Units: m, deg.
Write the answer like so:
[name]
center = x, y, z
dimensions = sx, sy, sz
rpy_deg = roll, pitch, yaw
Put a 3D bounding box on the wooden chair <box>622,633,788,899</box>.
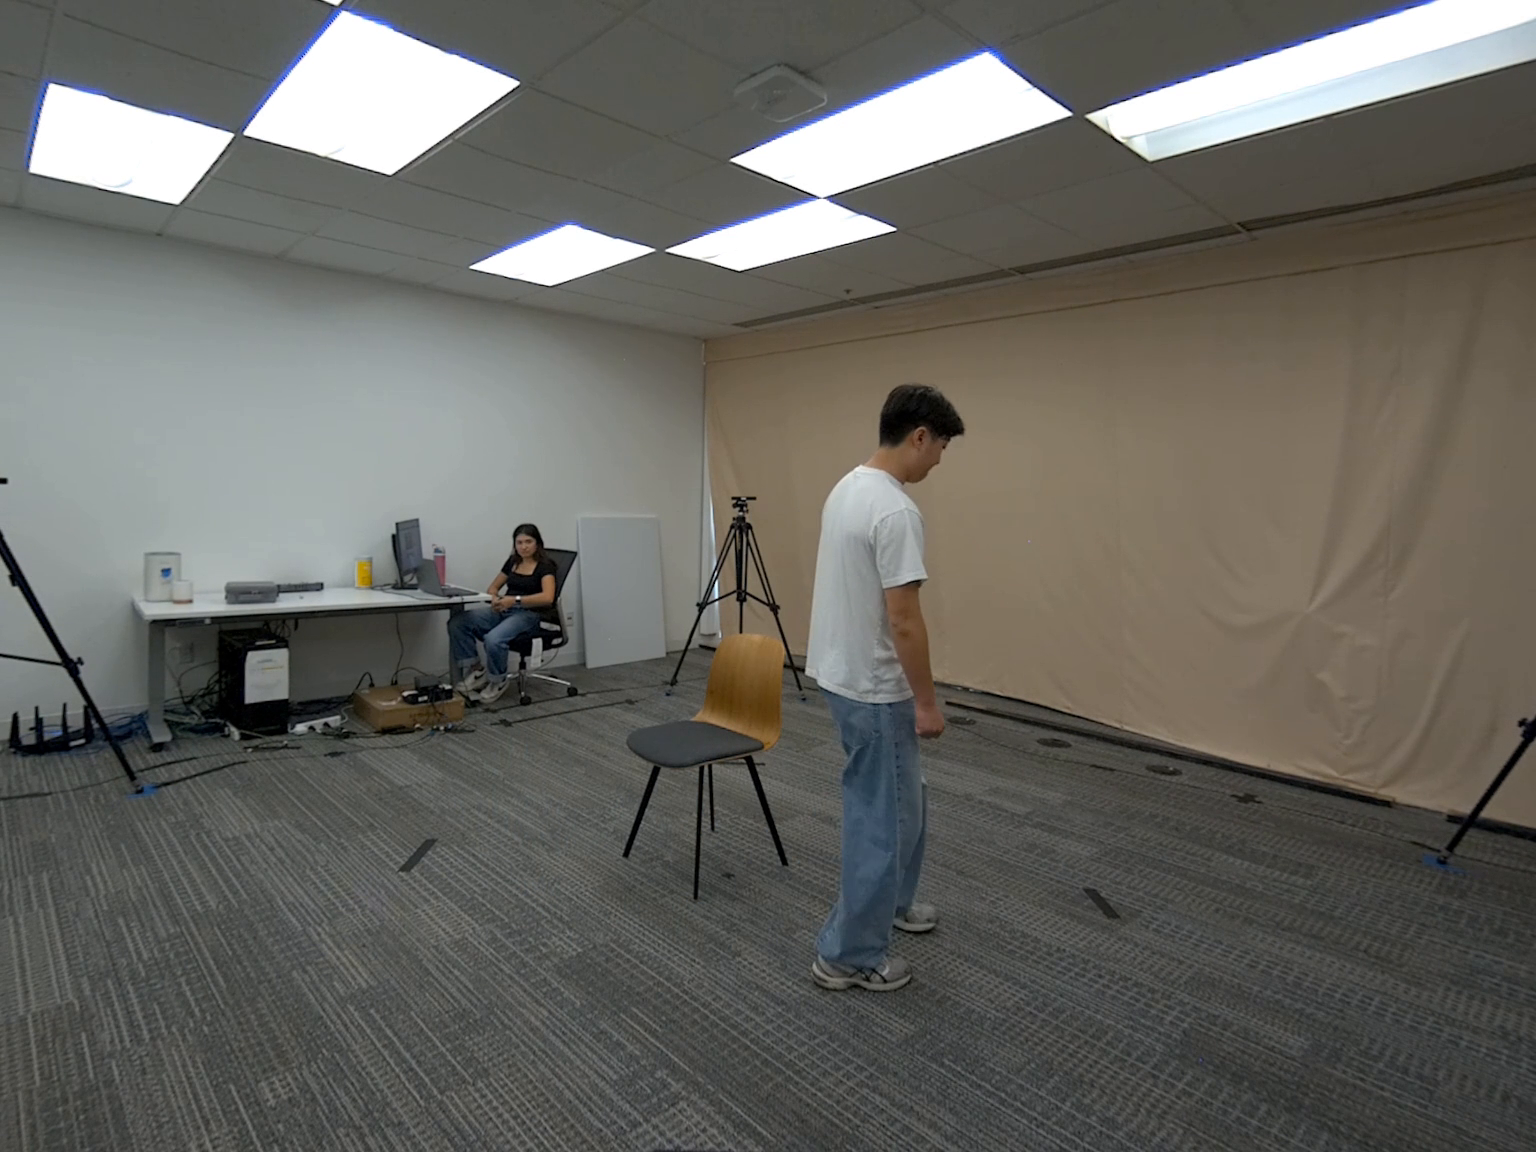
[wooden chair]
center = -0.242, 0.671, 3.188
dimensions = 0.510, 0.877, 0.490
rpy_deg = 4, 1, -42
